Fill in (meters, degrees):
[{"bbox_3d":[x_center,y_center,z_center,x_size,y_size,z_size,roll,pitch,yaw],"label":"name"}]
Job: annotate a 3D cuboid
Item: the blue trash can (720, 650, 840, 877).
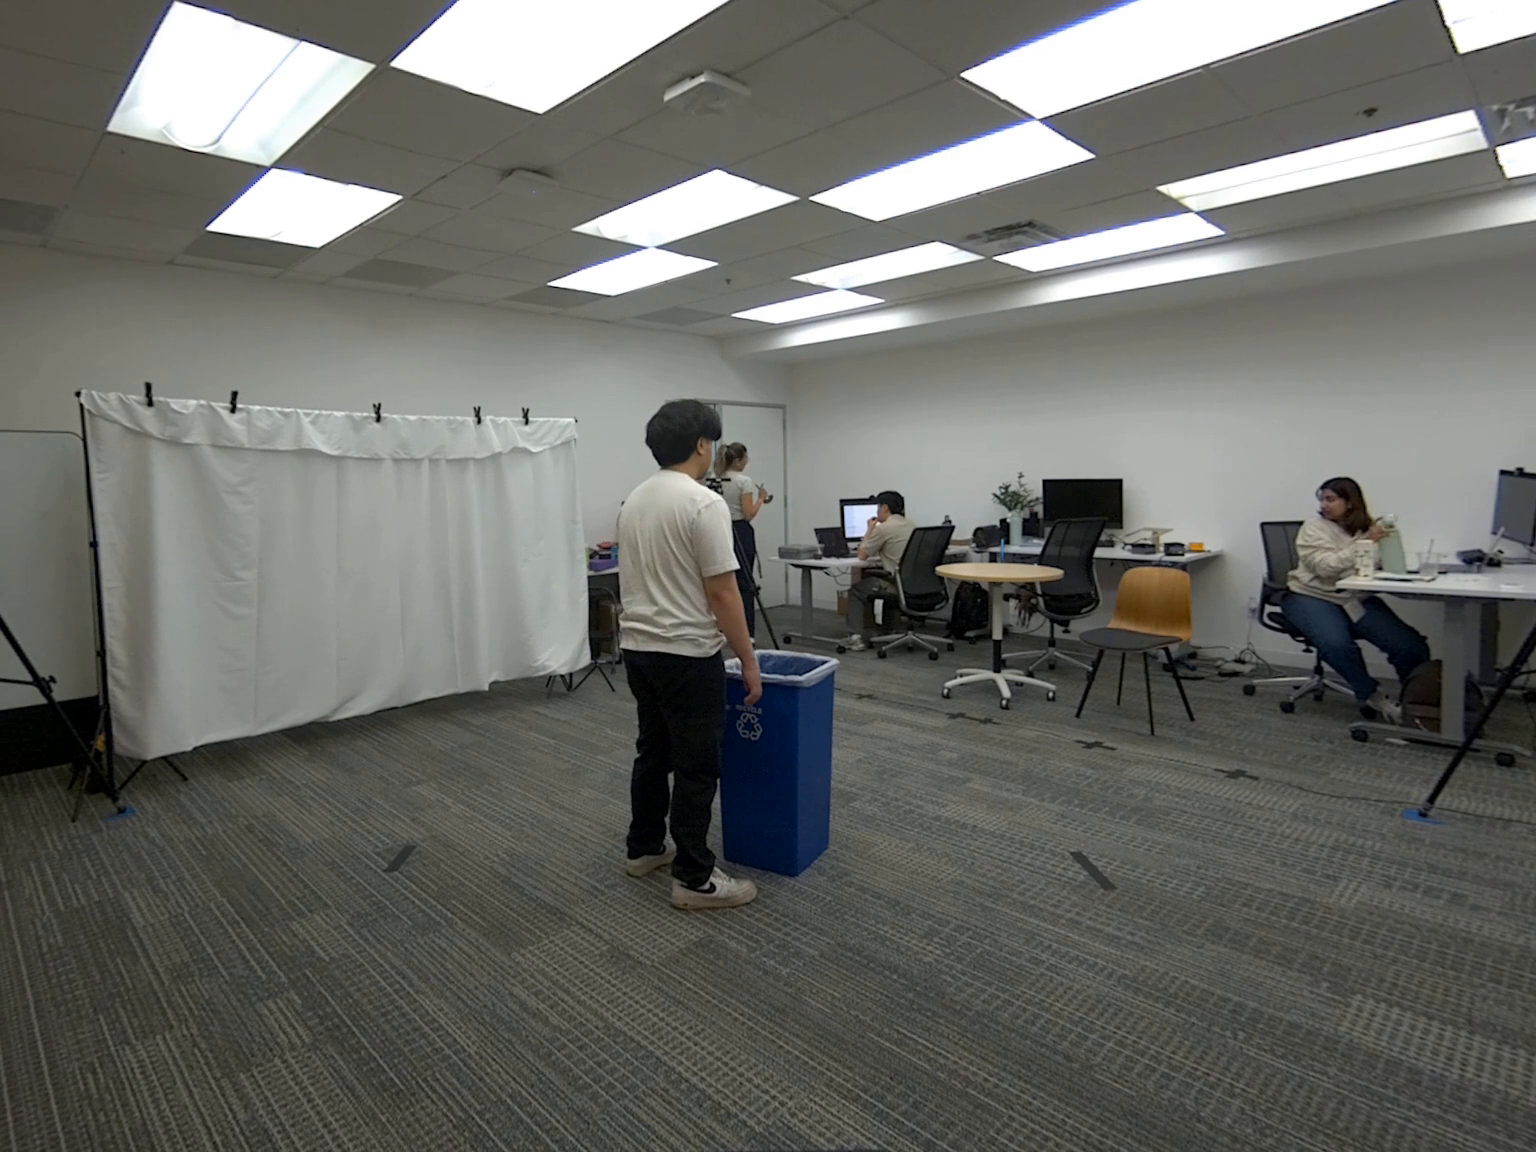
[{"bbox_3d":[0.041,0.675,3.163,0.383,0.711,0.370,1,5,29],"label":"blue trash can"}]
